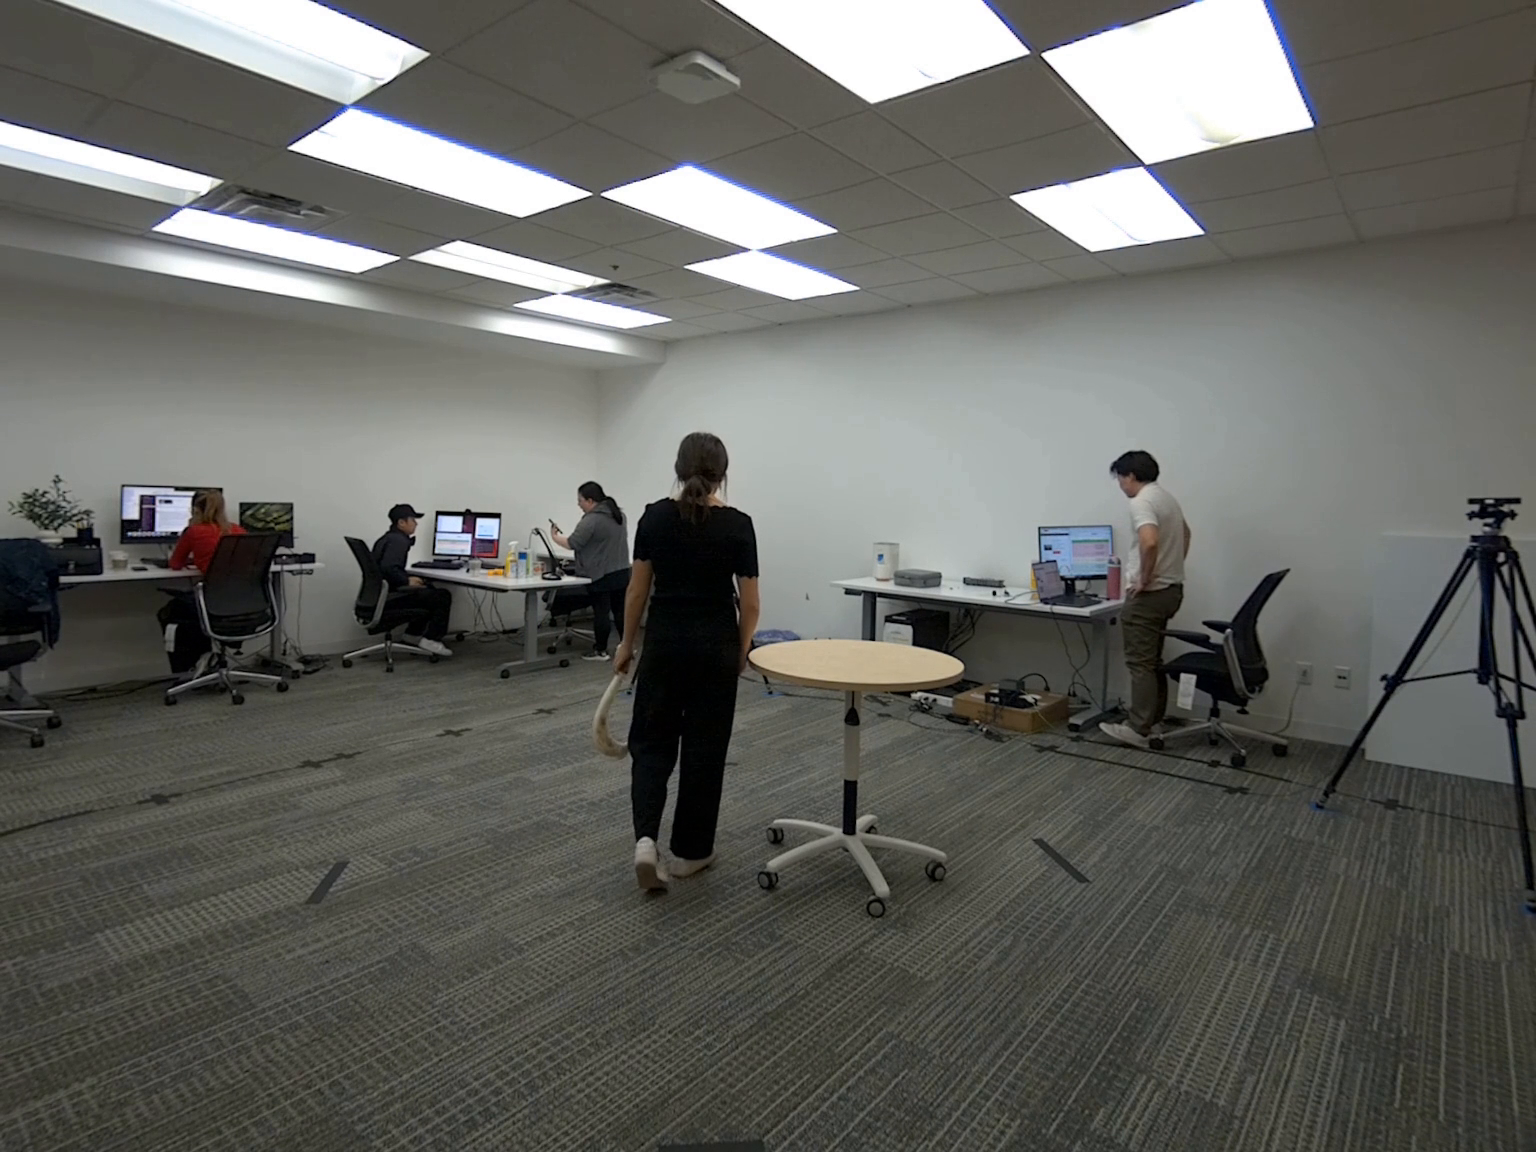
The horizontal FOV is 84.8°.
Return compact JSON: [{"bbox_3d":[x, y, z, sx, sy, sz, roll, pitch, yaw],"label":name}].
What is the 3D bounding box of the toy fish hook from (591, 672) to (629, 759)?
[{"bbox_3d":[-0.540,0.427,3.238,0.049,0.515,0.215,-10,-32,39],"label":"toy fish hook"}]
